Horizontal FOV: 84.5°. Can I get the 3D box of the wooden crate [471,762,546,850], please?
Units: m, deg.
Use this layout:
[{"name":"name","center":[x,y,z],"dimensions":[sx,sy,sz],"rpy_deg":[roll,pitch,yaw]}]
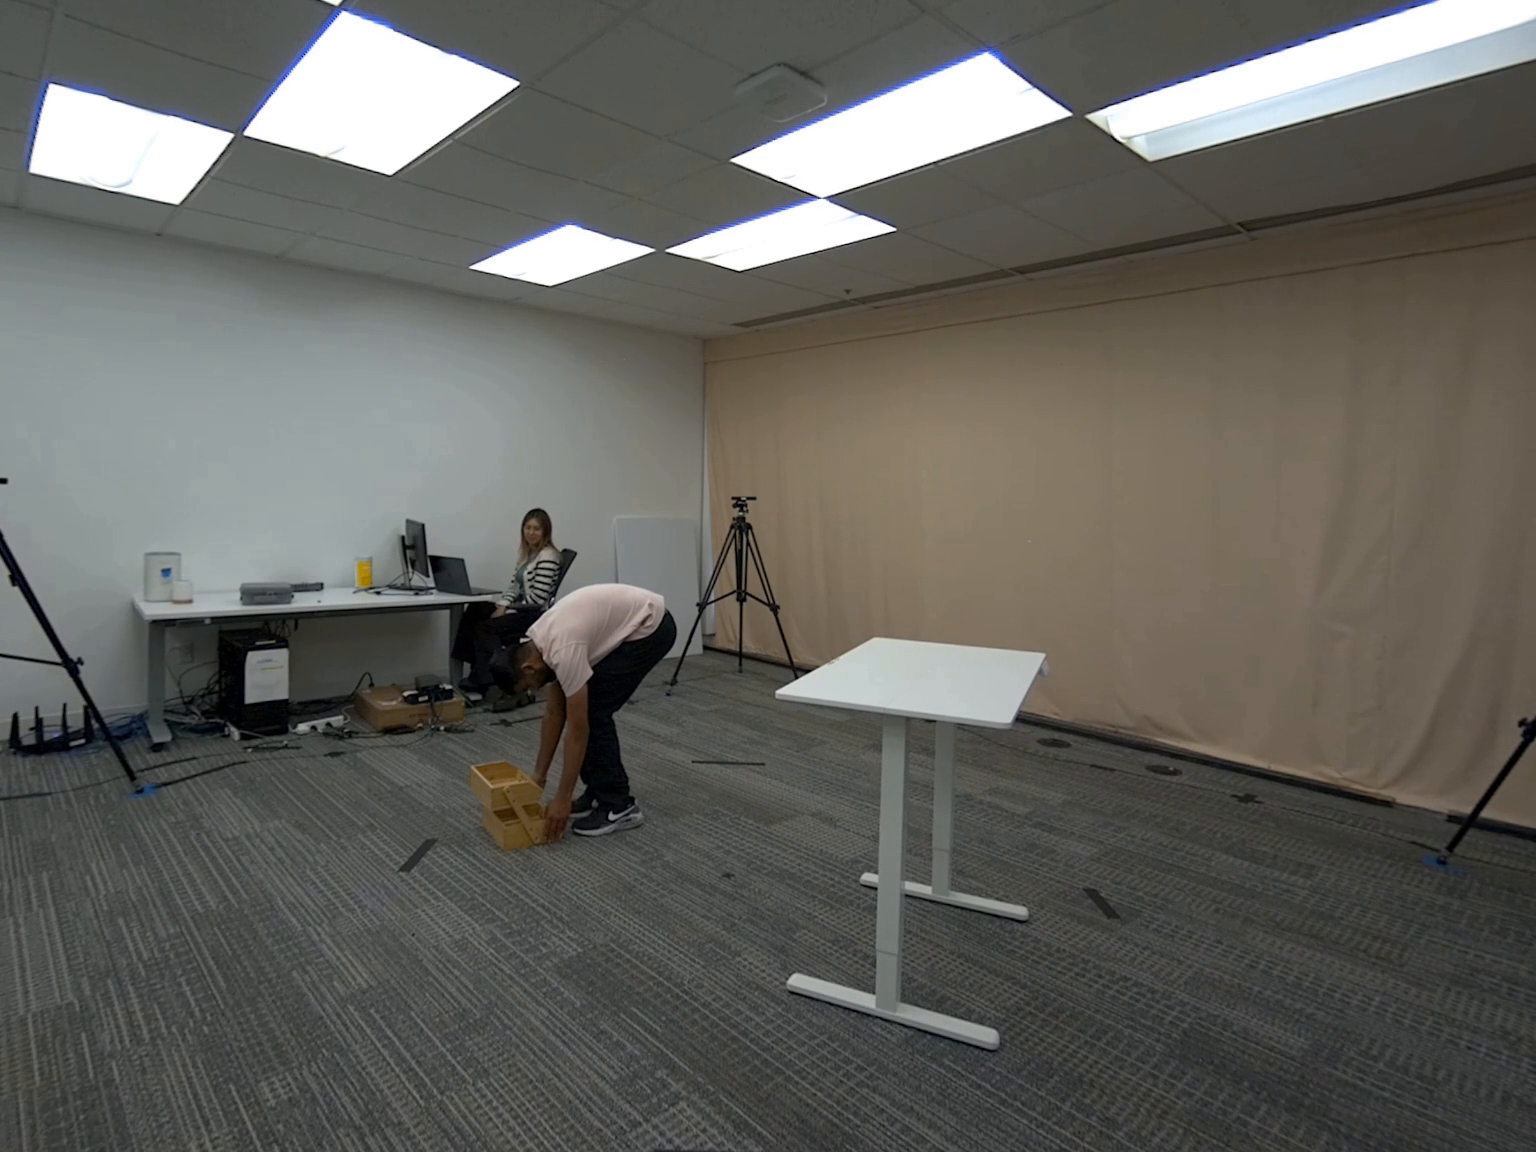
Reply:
[{"name":"wooden crate","center":[-1.037,0.920,3.440],"dimensions":[0.295,0.272,0.332],"rpy_deg":[-1,5,-34]}]
